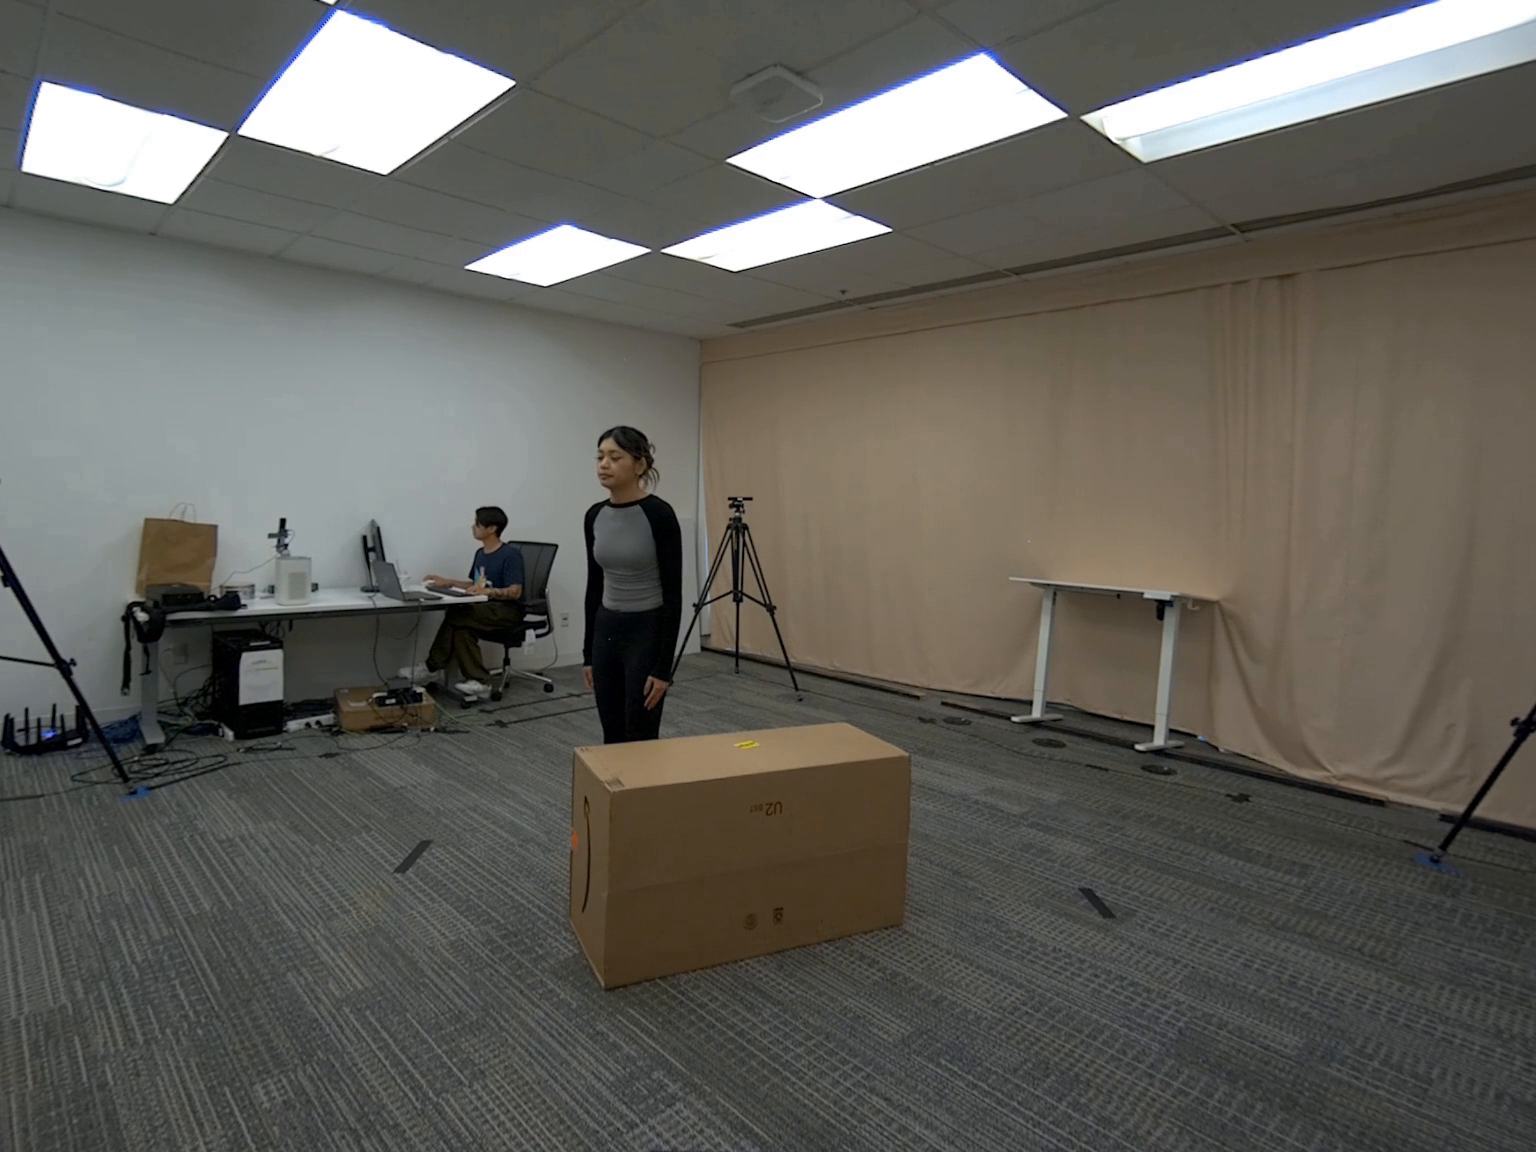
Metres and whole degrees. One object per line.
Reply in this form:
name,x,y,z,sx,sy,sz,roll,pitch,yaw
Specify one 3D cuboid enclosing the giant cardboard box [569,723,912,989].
giant cardboard box,-0.089,0.854,2.742,1.008,0.583,0.456,-1,3,-25
